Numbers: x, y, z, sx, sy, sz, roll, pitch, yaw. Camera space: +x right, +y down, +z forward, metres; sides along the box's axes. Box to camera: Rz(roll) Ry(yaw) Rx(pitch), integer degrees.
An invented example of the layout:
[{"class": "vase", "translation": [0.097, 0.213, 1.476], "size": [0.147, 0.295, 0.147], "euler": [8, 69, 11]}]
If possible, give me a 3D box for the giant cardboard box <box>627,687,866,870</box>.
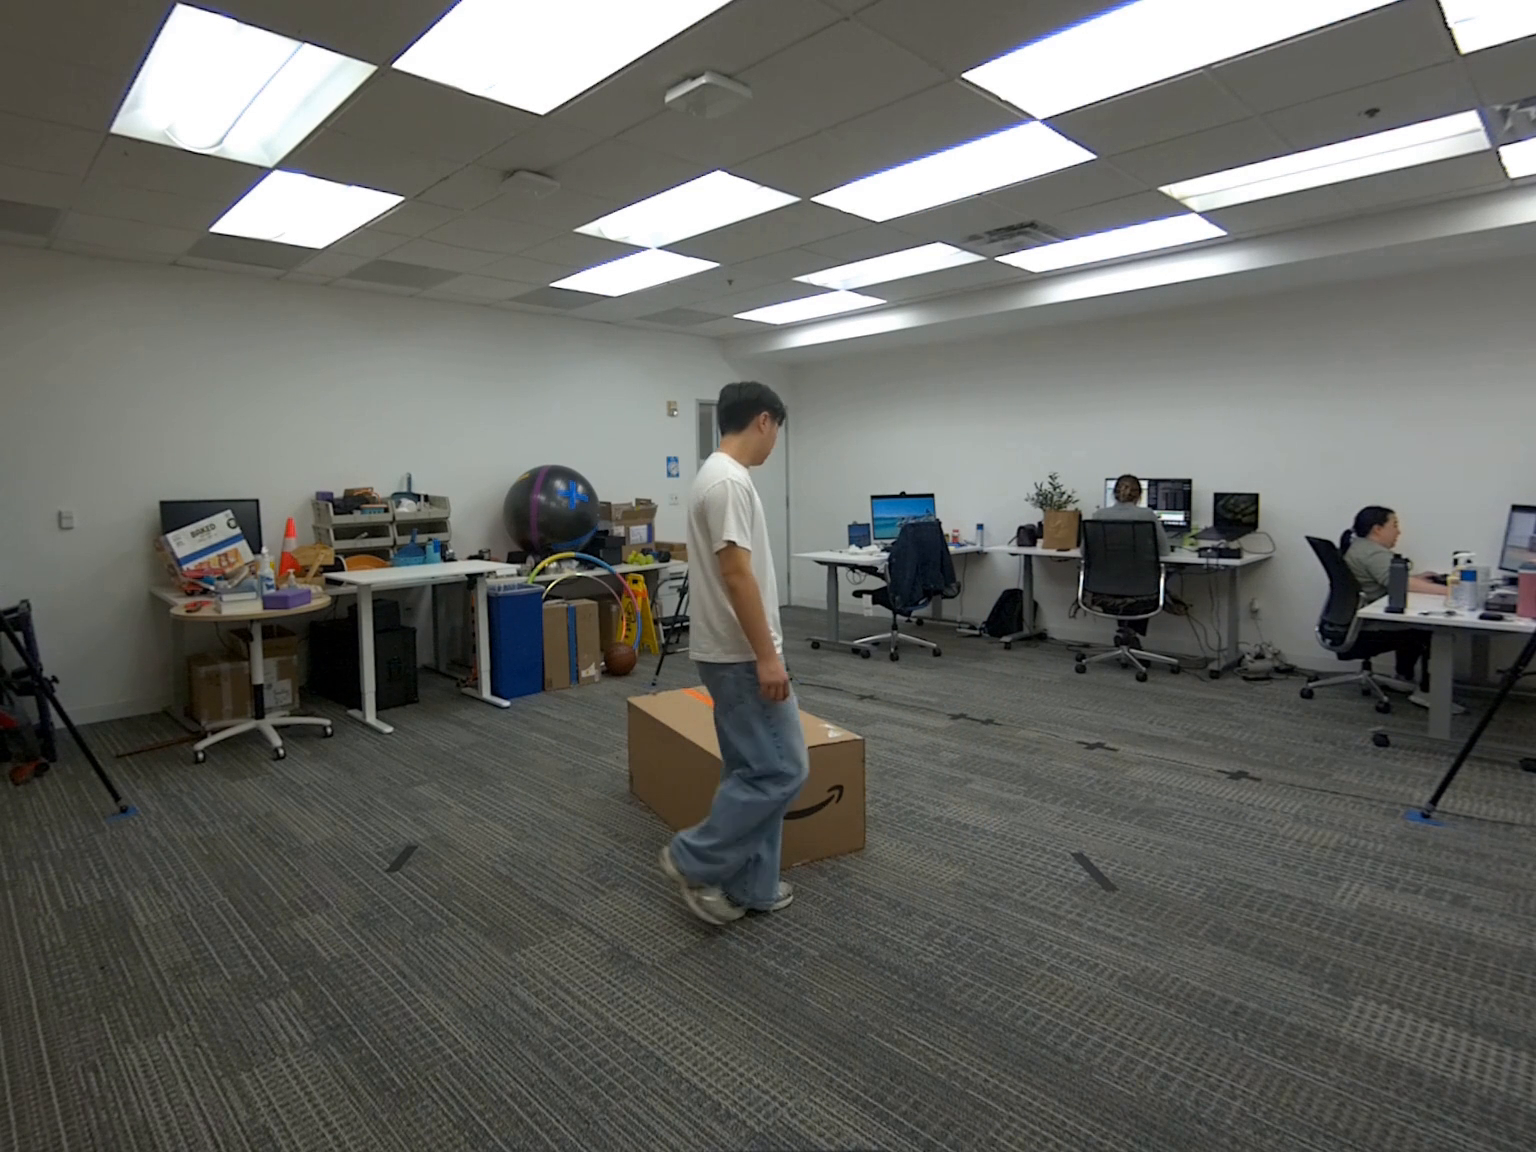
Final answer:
[{"class": "giant cardboard box", "translation": [-0.134, 0.785, 3.527], "size": [0.564, 0.424, 1.053], "euler": [-3, 6, -28]}]
